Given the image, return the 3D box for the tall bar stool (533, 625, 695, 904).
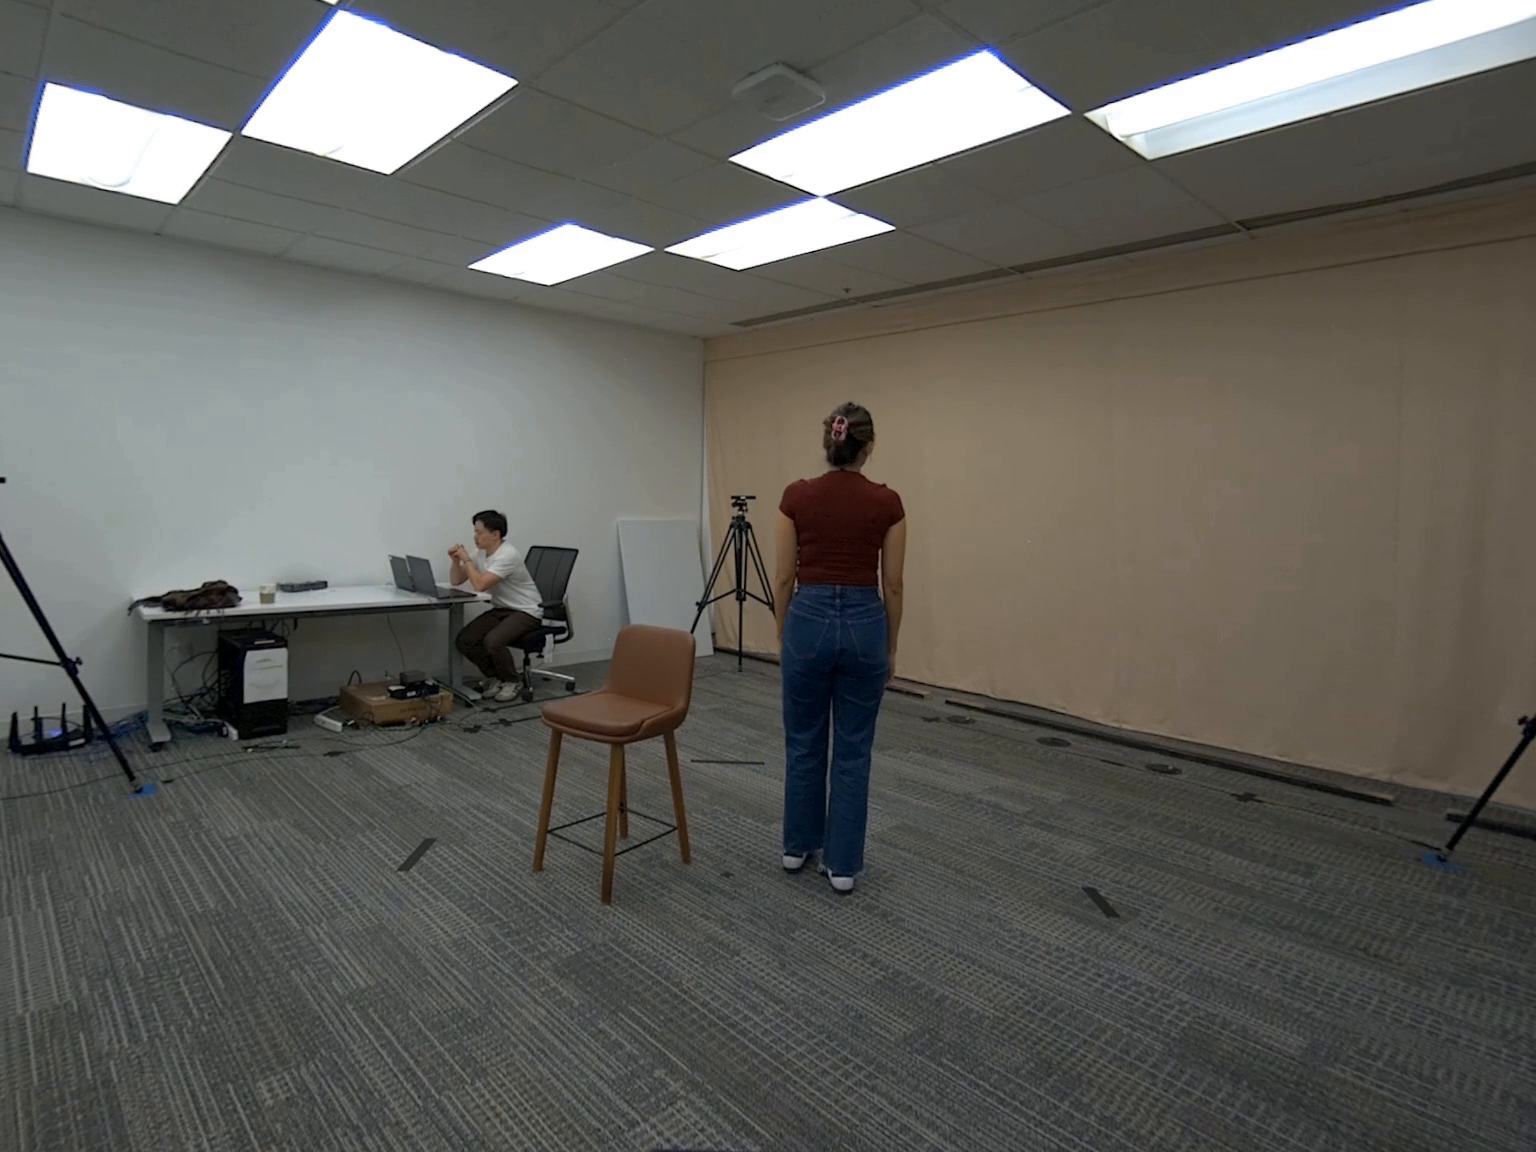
[{"bbox_3d":[-0.568,0.657,3.129,0.468,0.888,0.457,3,3,39],"label":"tall bar stool"}]
